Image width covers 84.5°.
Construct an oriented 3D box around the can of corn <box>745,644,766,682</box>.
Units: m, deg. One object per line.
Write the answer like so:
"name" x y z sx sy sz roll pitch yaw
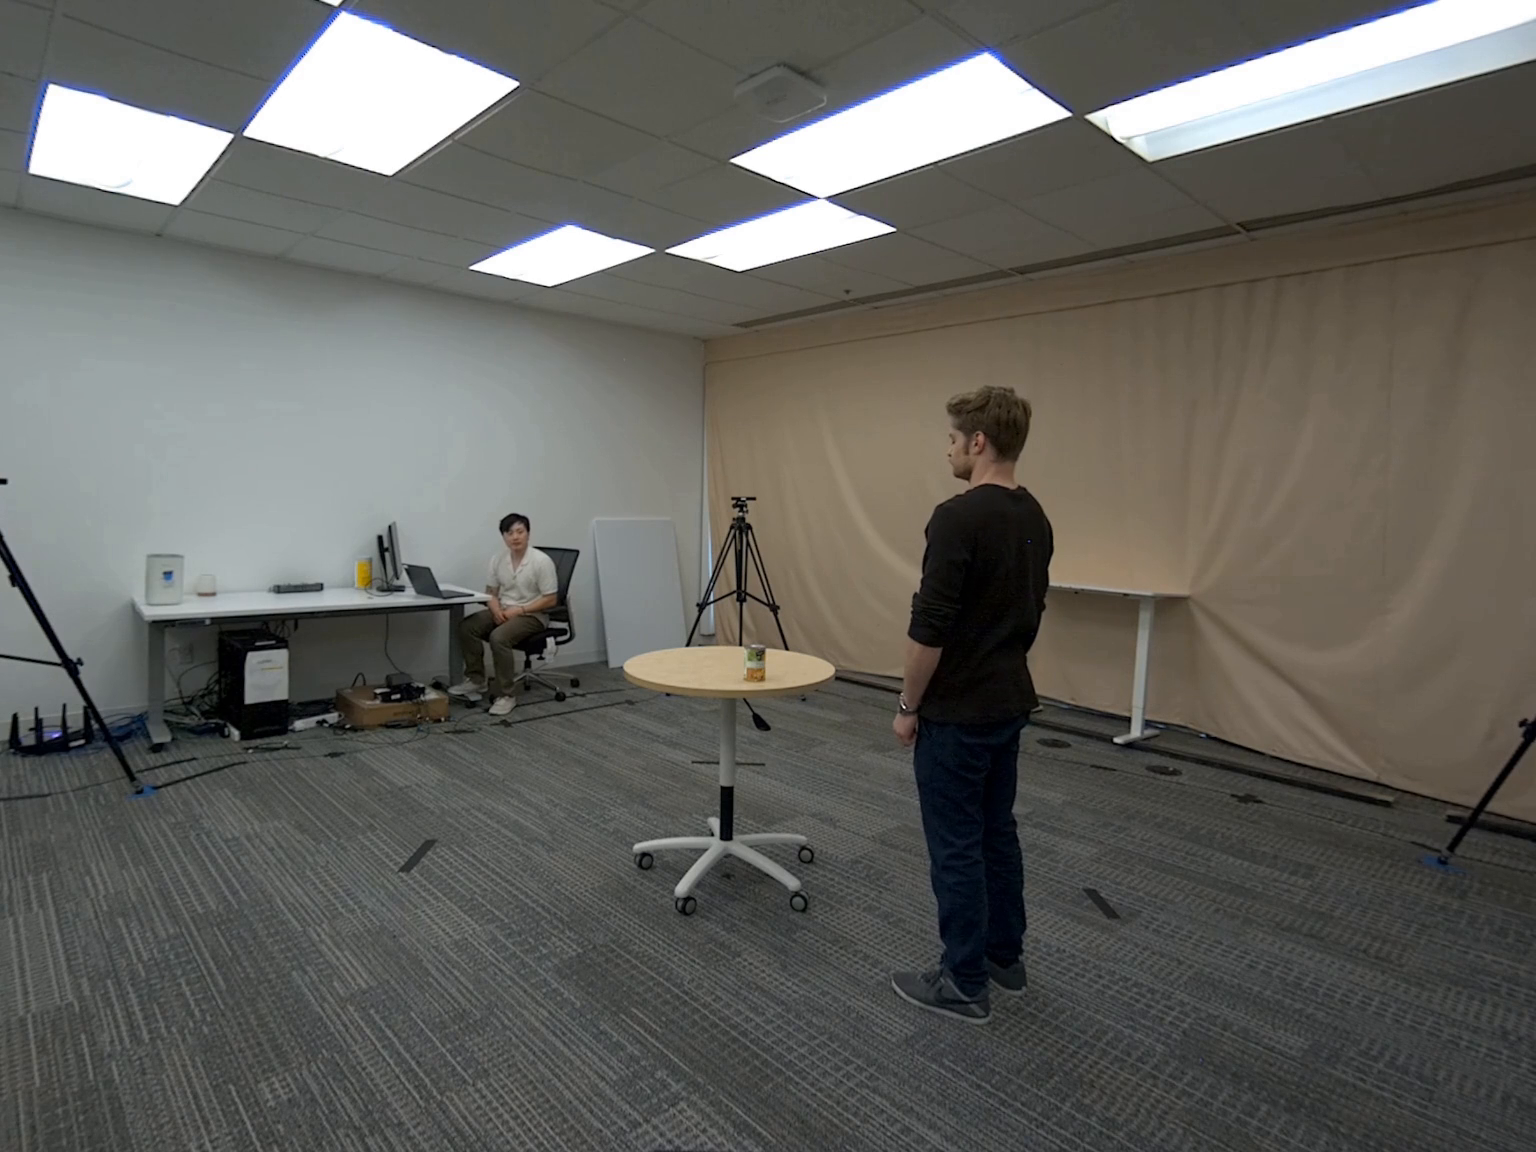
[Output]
"can of corn" -0.050 0.295 2.824 0.074 0.110 0.074 1 7 -1
